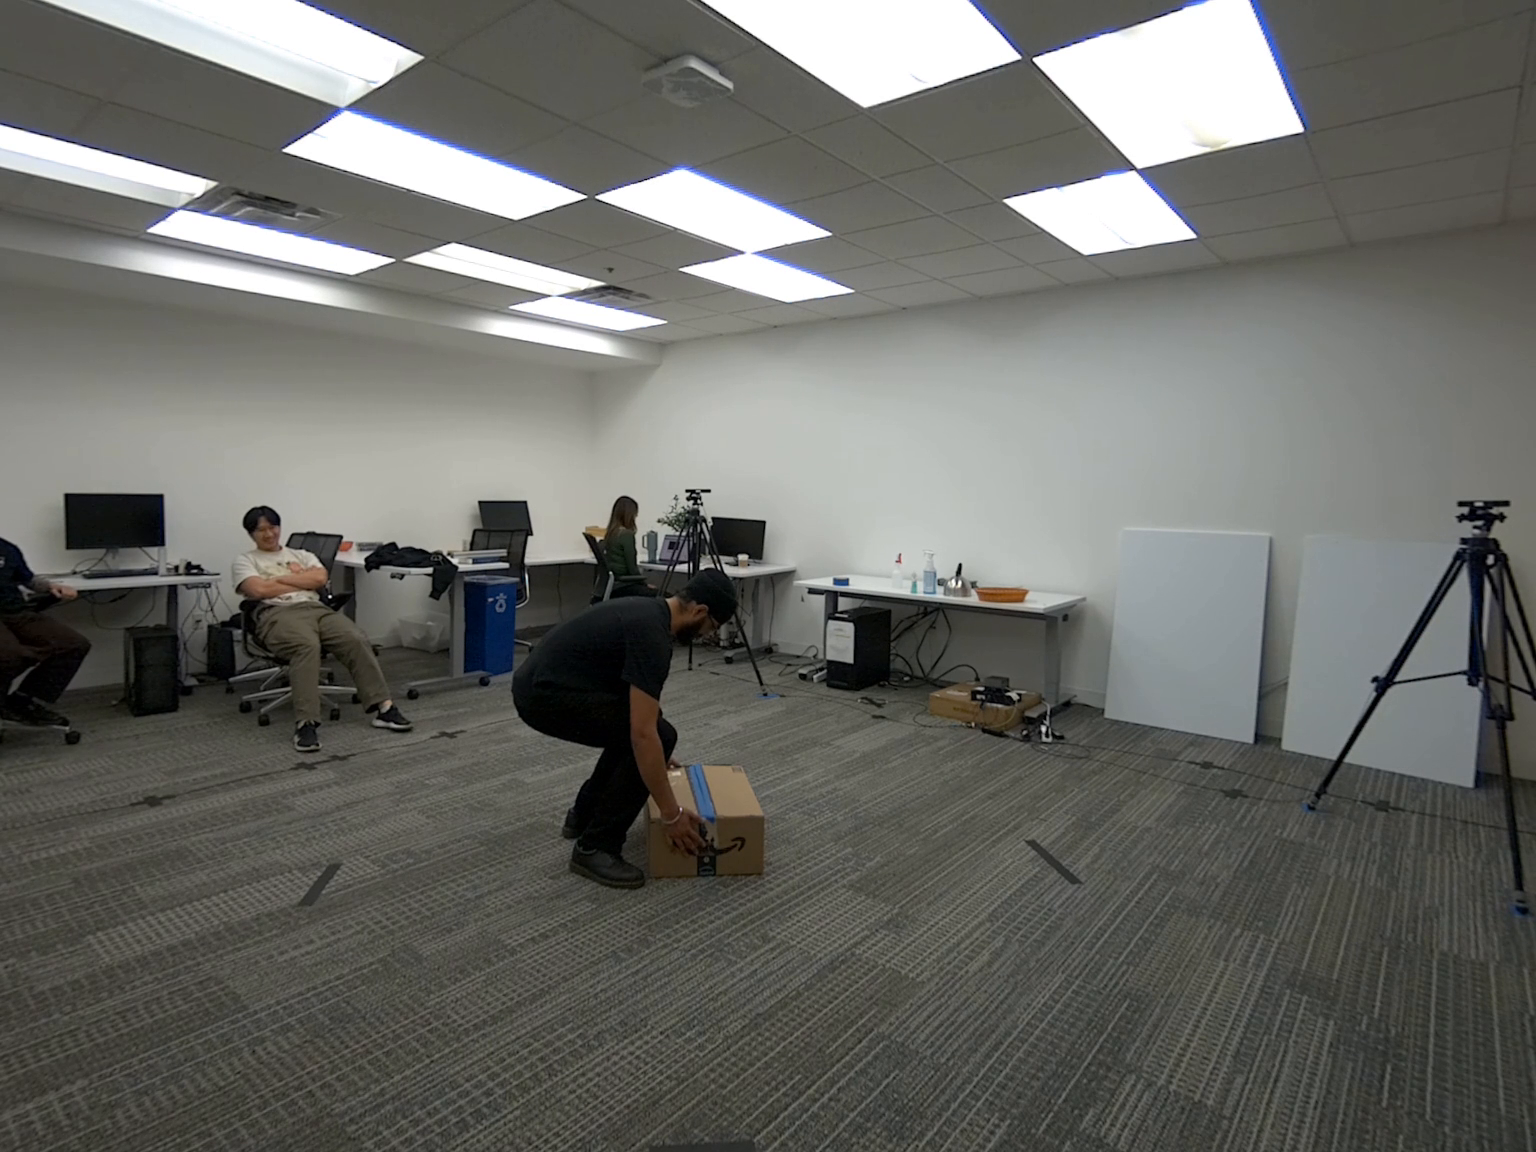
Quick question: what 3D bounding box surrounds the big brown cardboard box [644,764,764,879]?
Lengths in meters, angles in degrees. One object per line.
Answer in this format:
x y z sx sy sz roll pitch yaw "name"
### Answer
-0.274 0.941 3.332 0.413 0.232 0.598 0 6 -10 "big brown cardboard box"
